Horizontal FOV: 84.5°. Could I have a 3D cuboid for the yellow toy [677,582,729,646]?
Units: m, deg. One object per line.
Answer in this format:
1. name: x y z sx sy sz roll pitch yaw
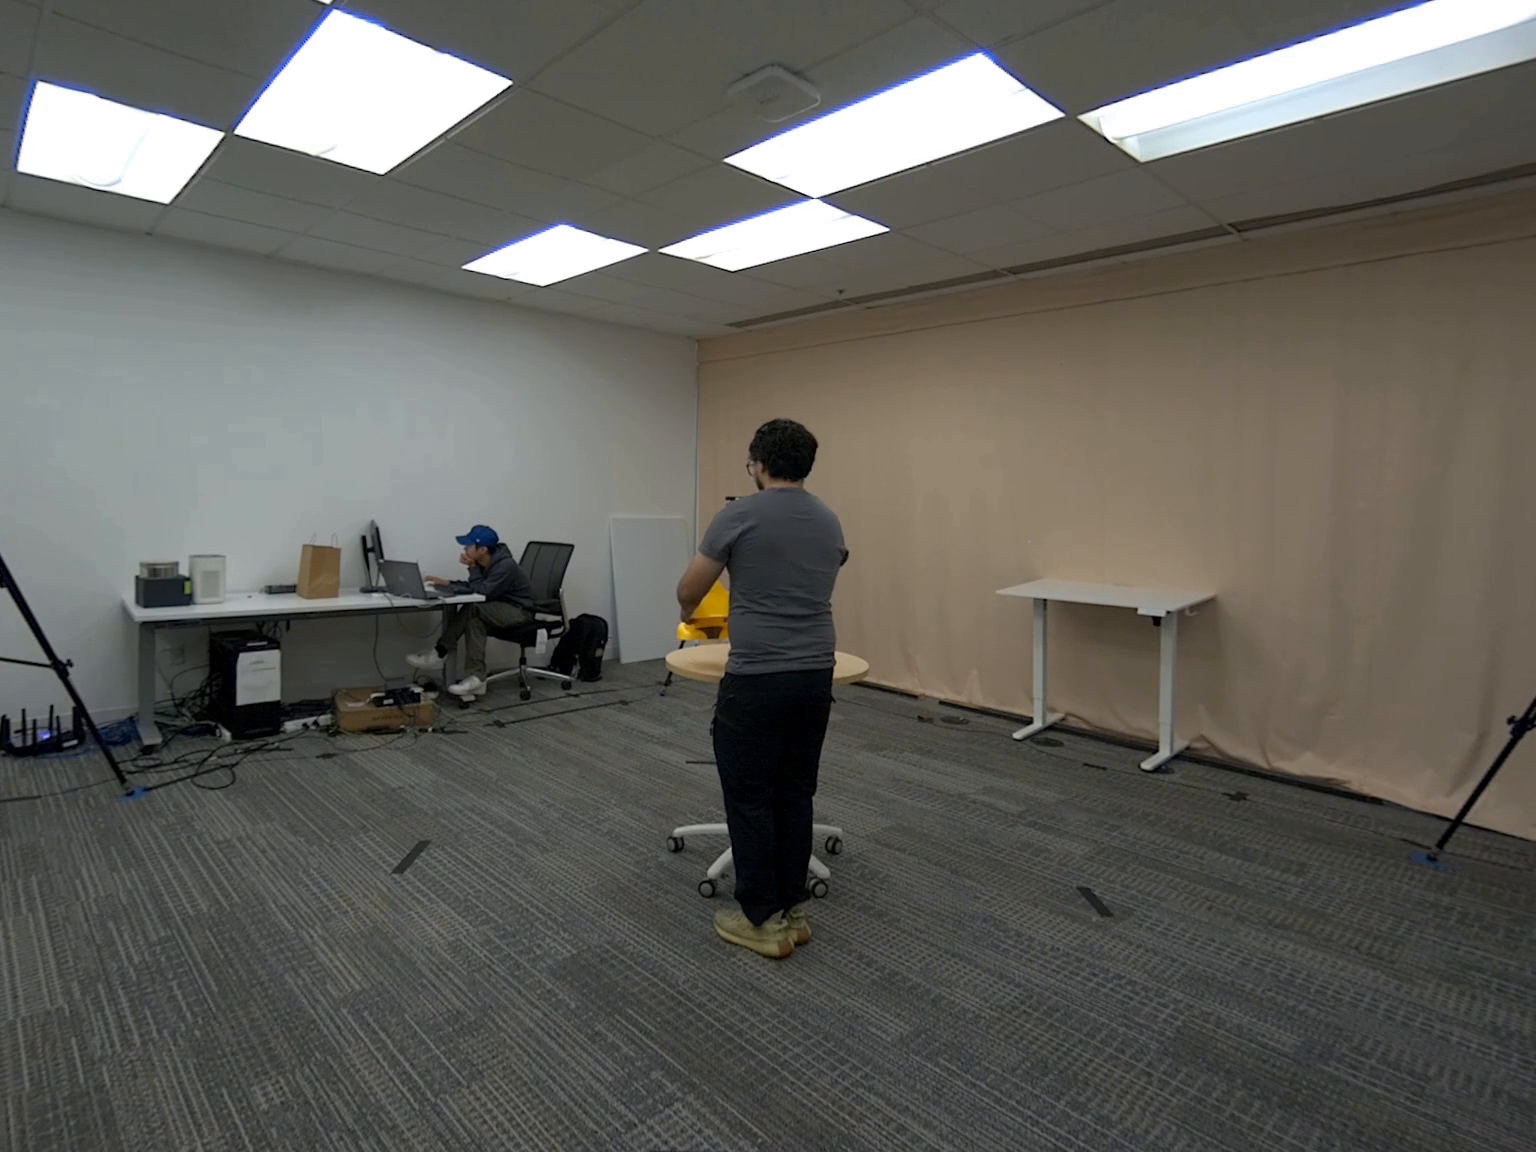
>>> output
1. yellow toy: -0.231 0.111 3.025 0.201 0.231 0.196 1 -2 -27
